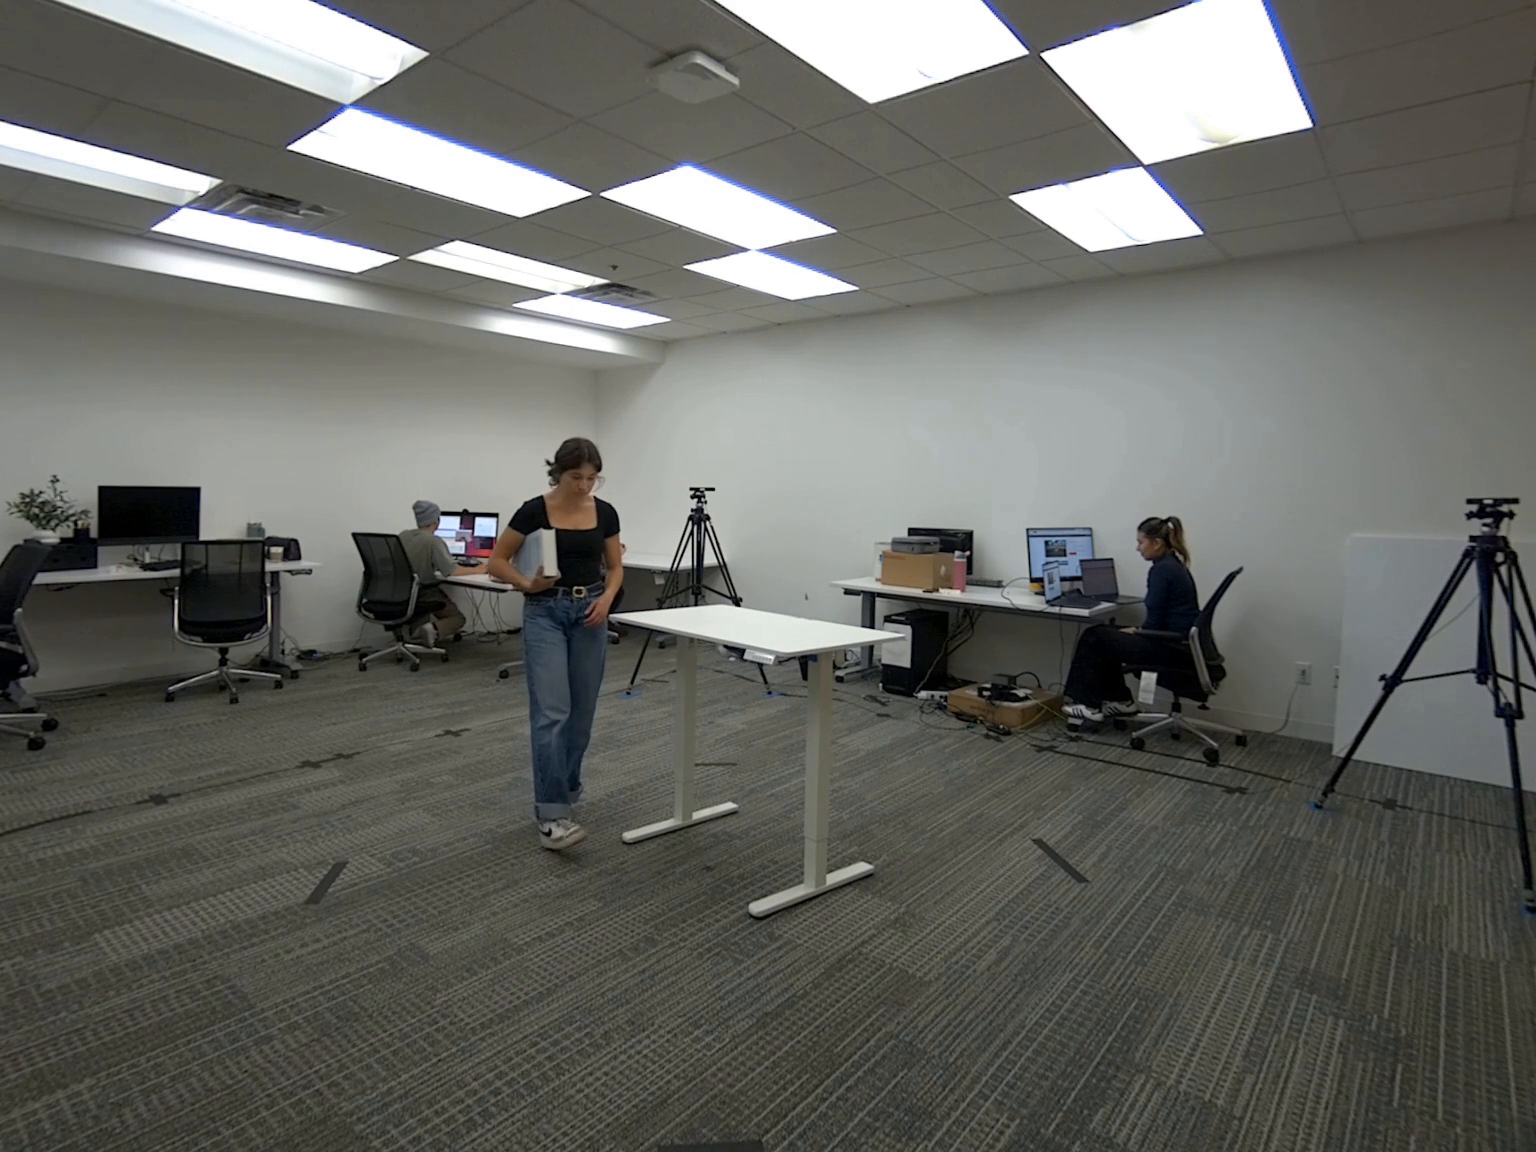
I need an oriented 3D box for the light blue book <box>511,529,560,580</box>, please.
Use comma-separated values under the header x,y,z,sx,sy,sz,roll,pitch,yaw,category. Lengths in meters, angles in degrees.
x,y,z,sx,sy,sz,roll,pitch,yaw,category
-0.935,-0.076,3.366,0.057,0.194,0.266,5,-14,-36,light blue book
